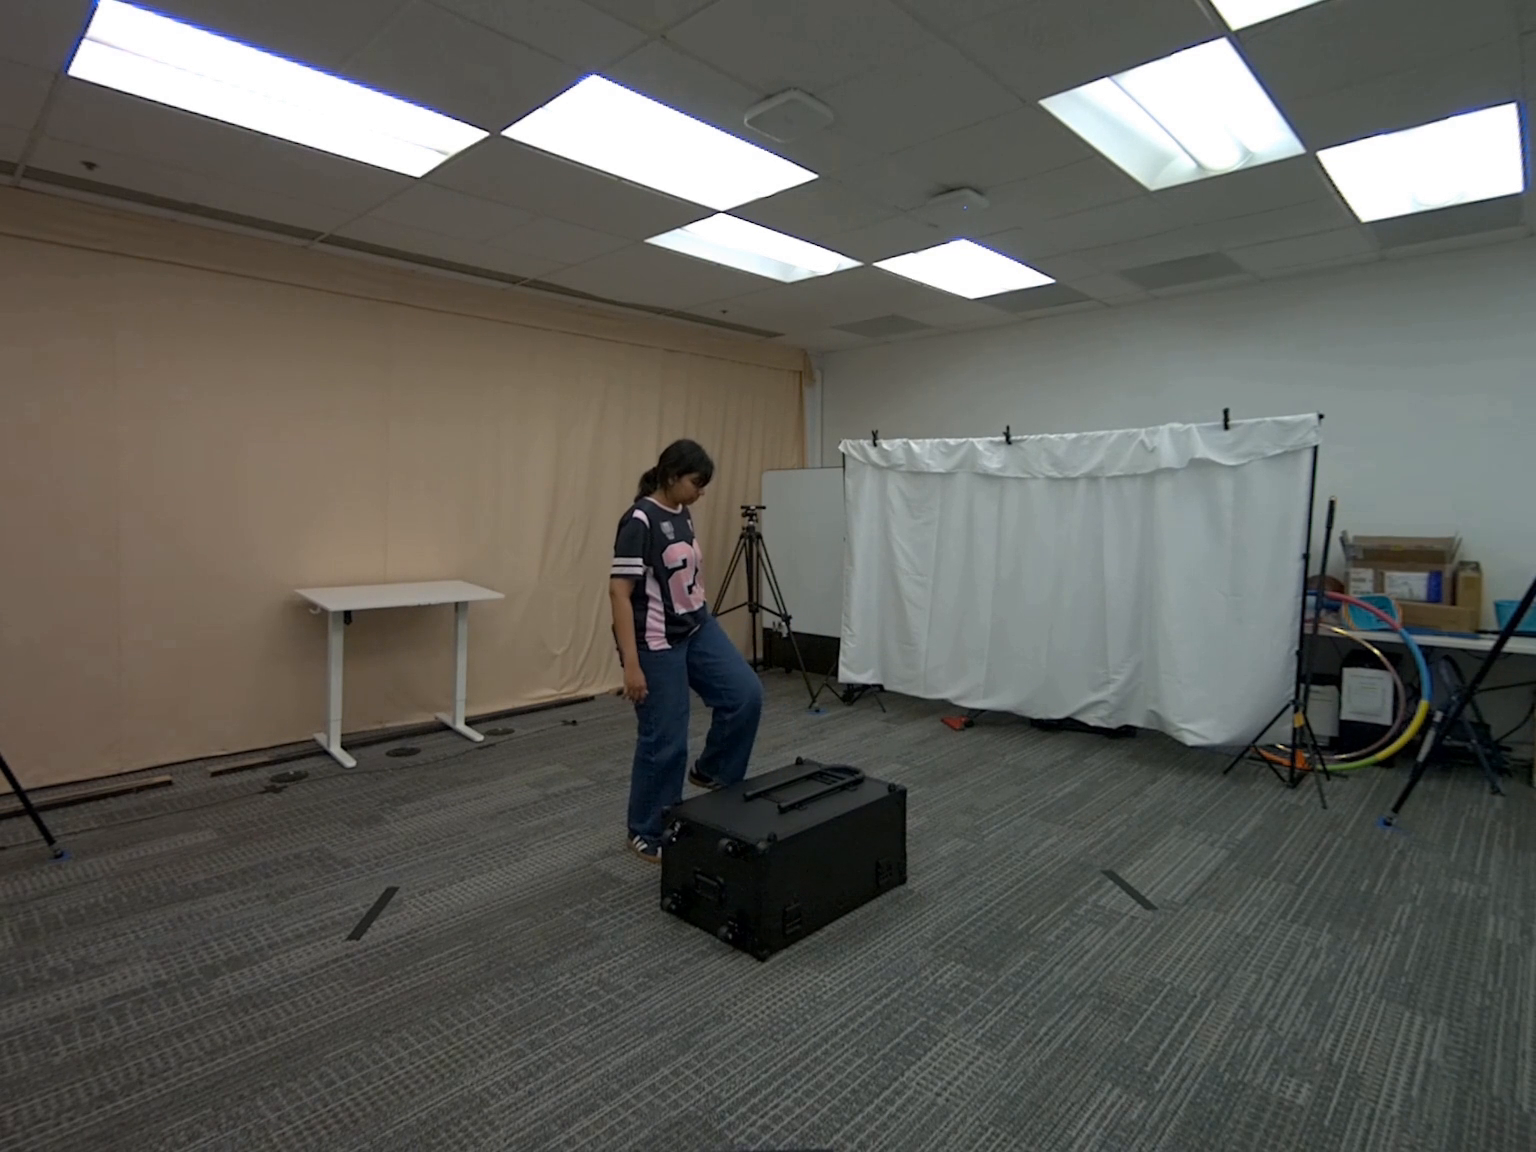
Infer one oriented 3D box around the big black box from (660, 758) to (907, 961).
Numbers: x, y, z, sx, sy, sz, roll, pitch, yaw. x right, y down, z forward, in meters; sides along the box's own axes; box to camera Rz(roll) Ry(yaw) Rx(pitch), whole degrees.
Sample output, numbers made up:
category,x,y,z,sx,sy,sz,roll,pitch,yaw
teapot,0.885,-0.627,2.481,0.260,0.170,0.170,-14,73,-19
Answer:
category,x,y,z,sx,sy,sz,roll,pitch,yaw
big black box,0.057,0.960,2.964,0.541,0.384,0.842,5,7,44
